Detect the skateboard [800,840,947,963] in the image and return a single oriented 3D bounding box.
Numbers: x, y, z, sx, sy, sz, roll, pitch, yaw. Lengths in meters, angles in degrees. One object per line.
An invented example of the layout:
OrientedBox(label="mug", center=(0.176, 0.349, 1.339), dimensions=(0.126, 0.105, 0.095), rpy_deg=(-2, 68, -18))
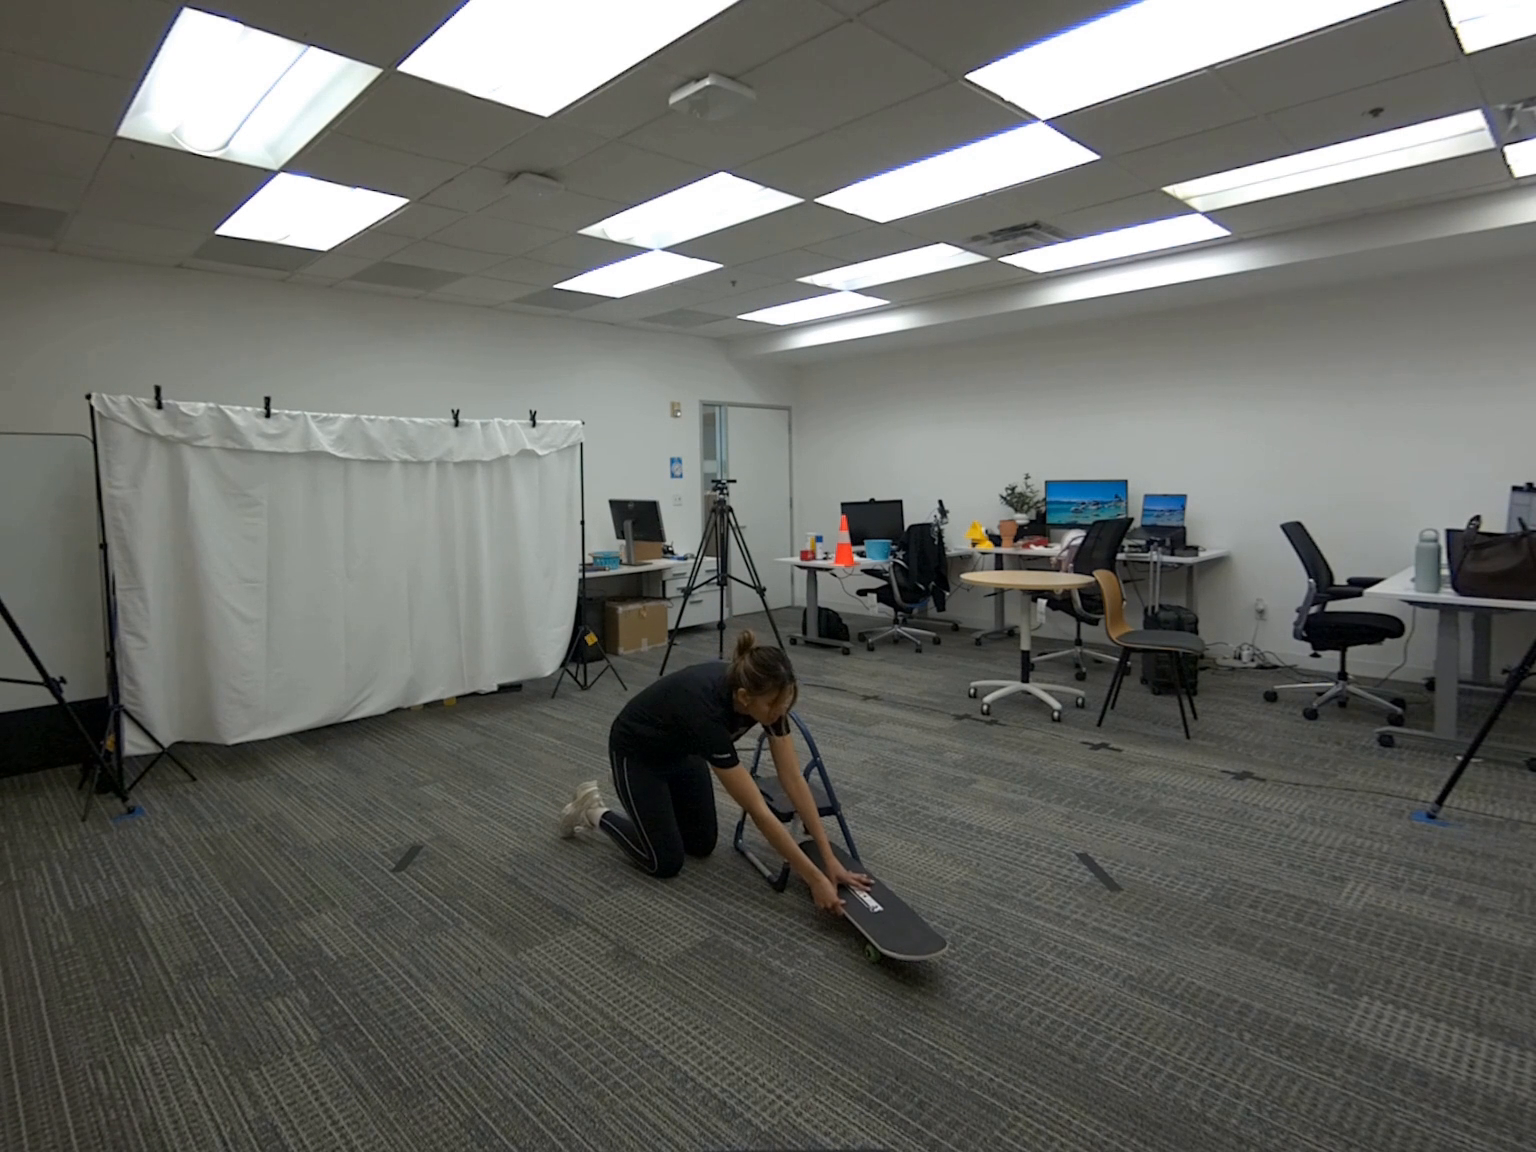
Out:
OrientedBox(label="skateboard", center=(0.306, 1.037, 2.678), dimensions=(0.190, 0.110, 0.802), rpy_deg=(-7, 8, -19))
